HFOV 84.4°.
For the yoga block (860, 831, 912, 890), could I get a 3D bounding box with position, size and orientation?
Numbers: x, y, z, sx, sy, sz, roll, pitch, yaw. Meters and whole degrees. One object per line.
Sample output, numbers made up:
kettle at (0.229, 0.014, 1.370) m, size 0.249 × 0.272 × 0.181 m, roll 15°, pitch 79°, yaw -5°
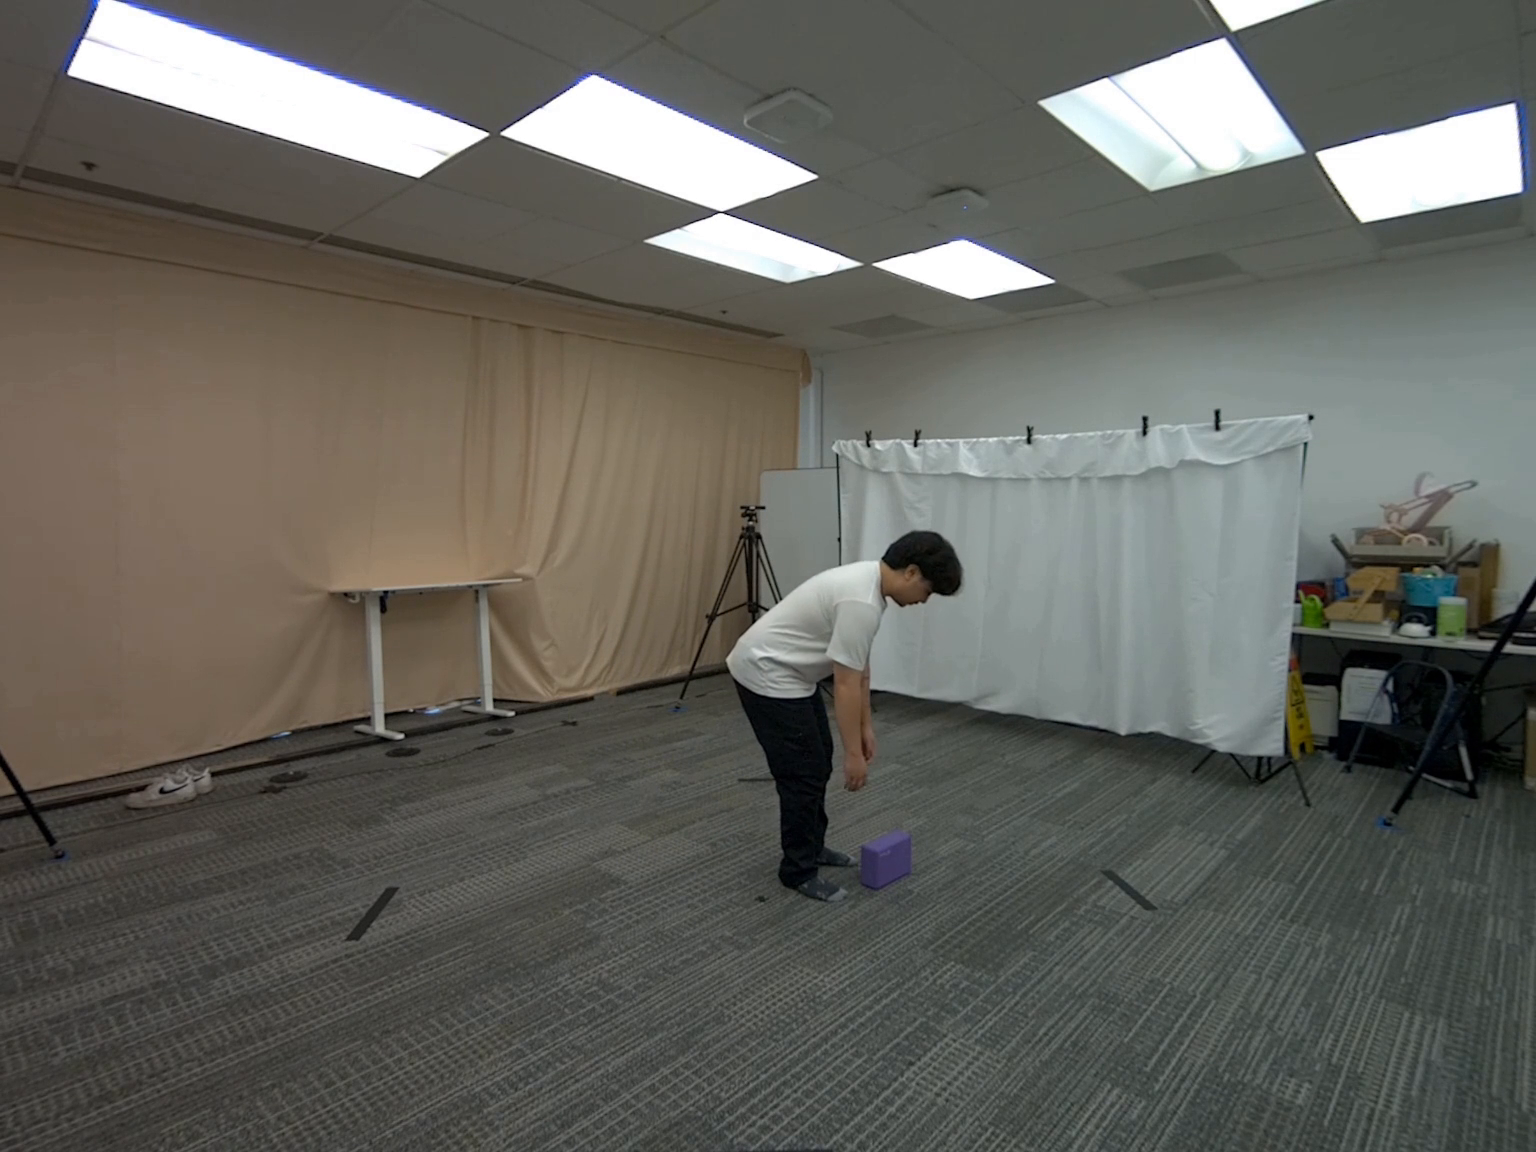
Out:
yoga block at (0.447, 1.054, 3.134) m, size 0.222 × 0.149 × 0.079 m, roll -3°, pitch 5°, yaw -44°
